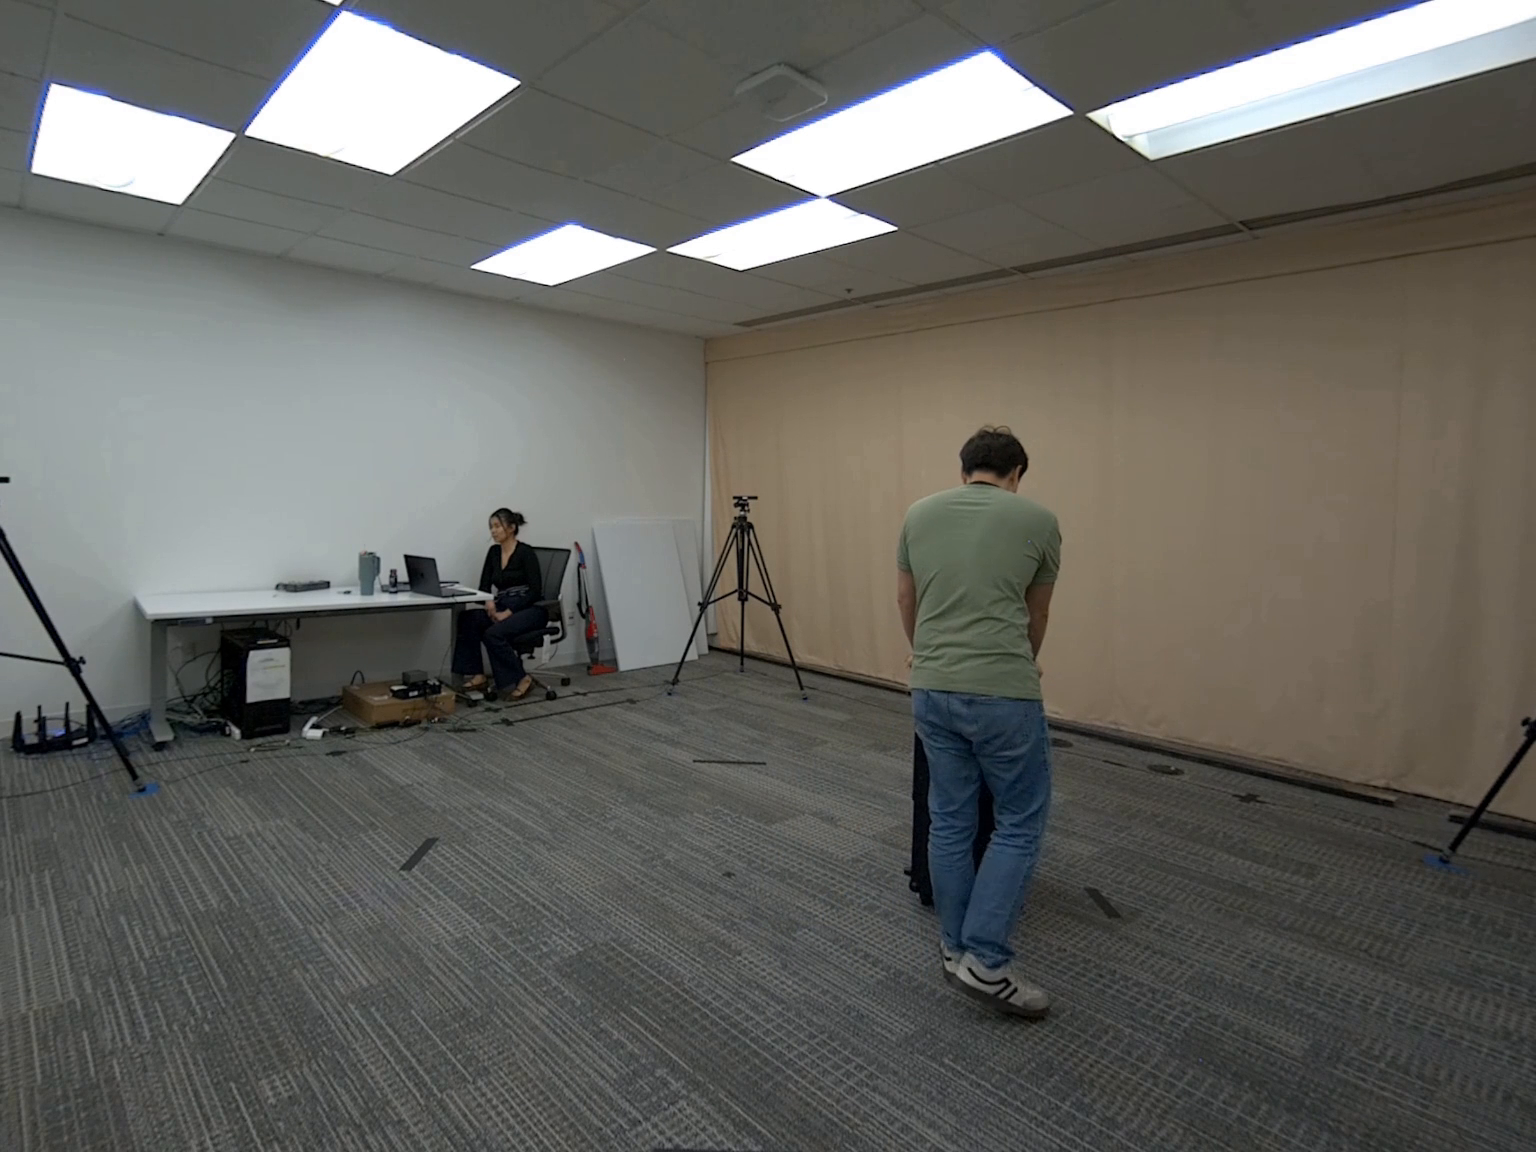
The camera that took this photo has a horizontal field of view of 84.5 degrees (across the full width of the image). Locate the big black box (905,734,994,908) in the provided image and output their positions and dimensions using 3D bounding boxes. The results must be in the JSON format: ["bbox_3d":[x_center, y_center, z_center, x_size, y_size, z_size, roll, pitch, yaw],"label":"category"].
[{"bbox_3d":[0.722,0.719,2.996,0.402,0.860,0.514,2,3,18],"label":"big black box"}]
